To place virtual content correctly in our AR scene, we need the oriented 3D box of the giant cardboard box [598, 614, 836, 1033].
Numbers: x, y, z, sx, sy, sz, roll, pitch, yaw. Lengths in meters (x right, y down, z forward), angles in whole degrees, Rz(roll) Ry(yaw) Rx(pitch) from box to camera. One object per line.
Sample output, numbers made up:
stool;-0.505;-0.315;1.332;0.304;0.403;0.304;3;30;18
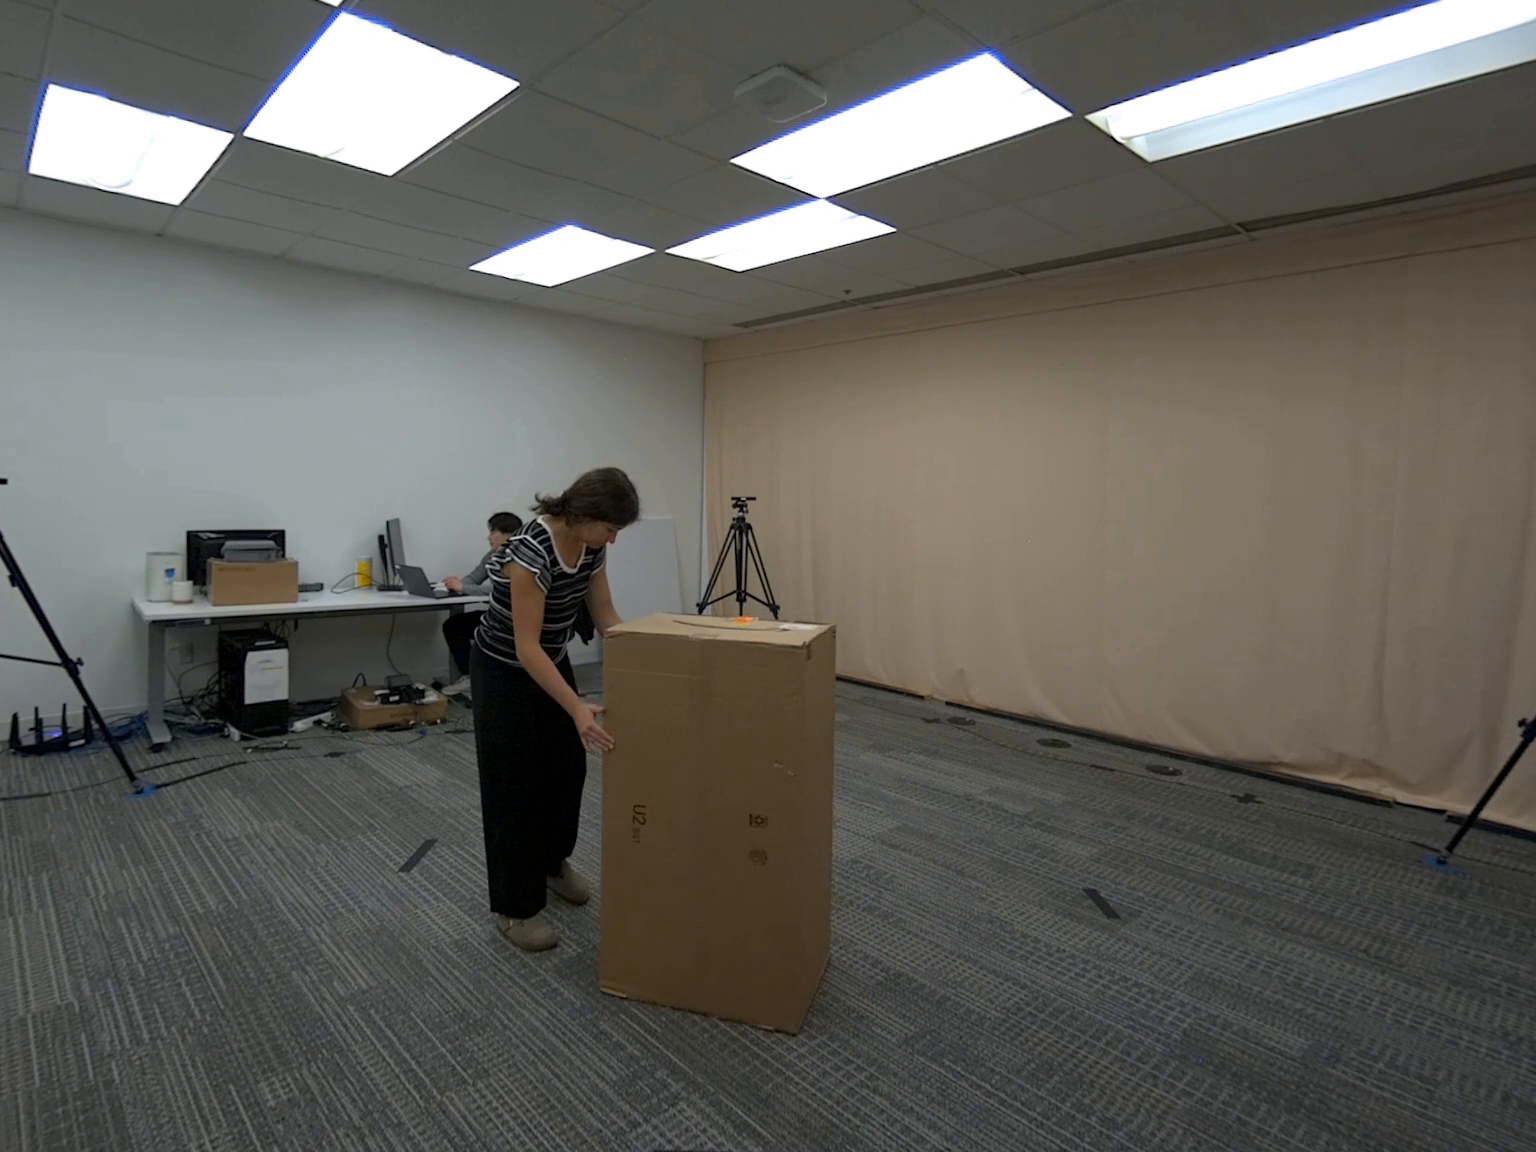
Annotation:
giant cardboard box;-0.135;0.657;2.445;0.585;1.024;0.421;2;3;16
